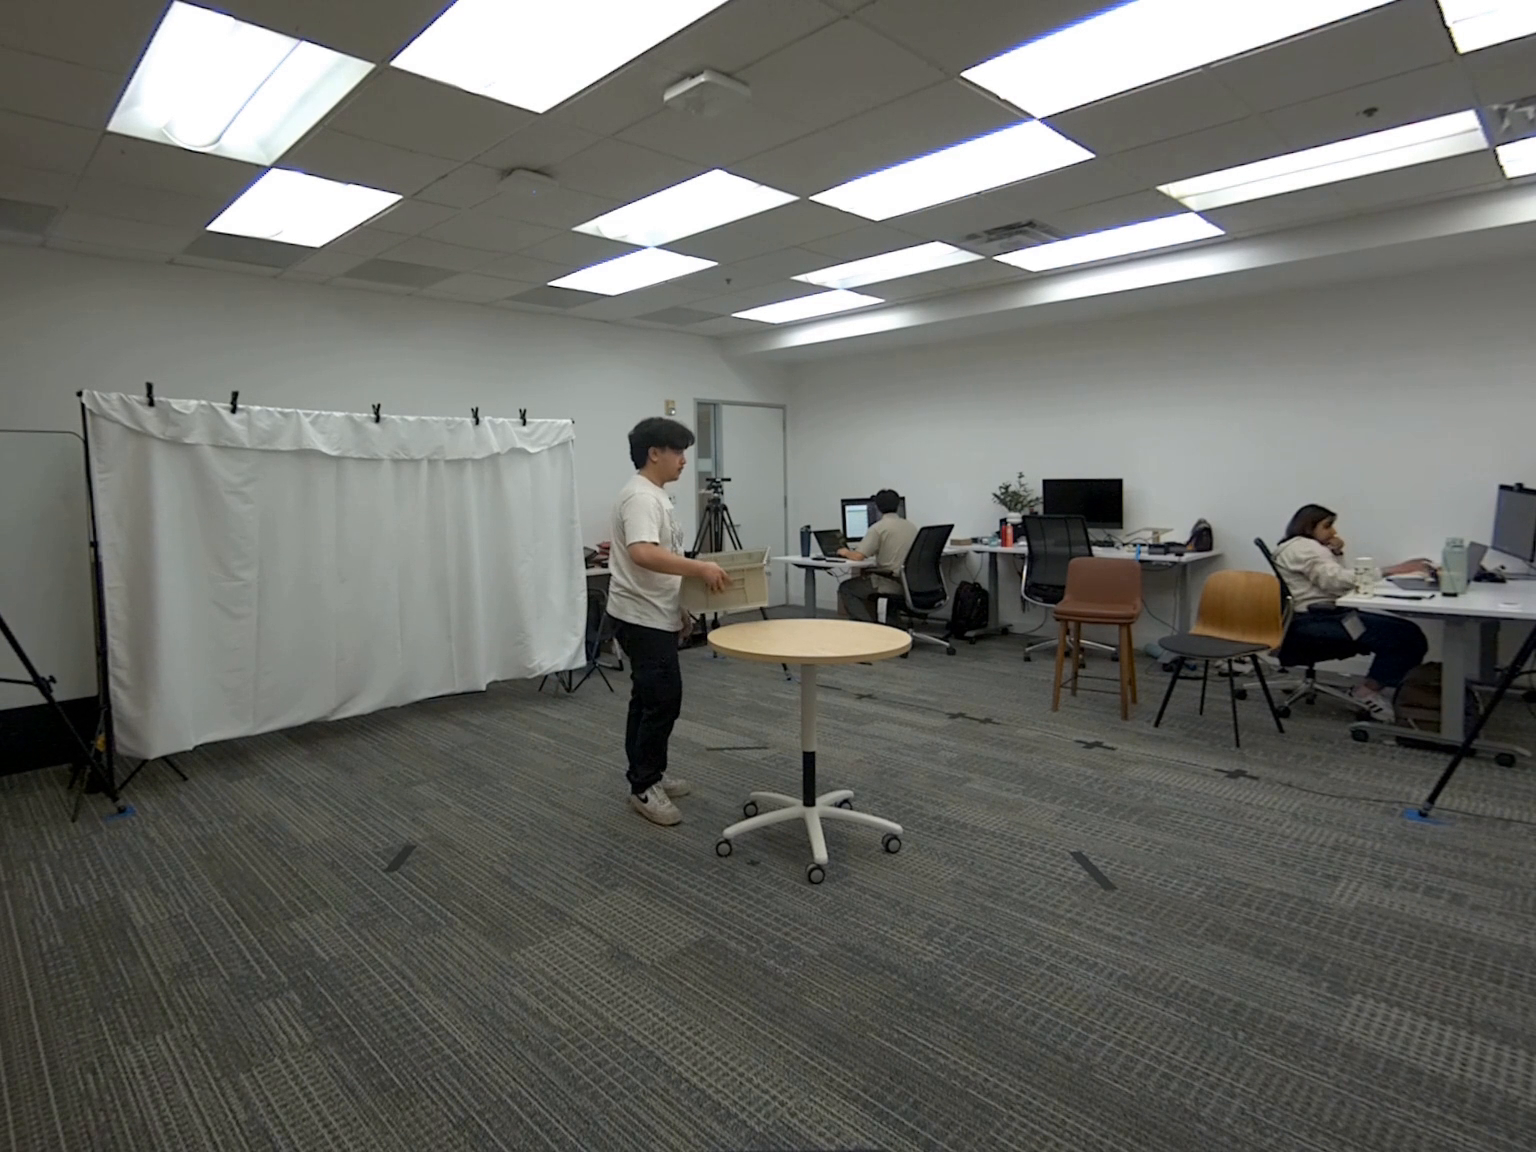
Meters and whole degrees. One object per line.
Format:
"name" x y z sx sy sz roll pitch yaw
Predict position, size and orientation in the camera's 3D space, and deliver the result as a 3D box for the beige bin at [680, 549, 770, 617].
"beige bin" -0.183 0.020 3.710 0.379 0.188 0.423 -4 7 4
